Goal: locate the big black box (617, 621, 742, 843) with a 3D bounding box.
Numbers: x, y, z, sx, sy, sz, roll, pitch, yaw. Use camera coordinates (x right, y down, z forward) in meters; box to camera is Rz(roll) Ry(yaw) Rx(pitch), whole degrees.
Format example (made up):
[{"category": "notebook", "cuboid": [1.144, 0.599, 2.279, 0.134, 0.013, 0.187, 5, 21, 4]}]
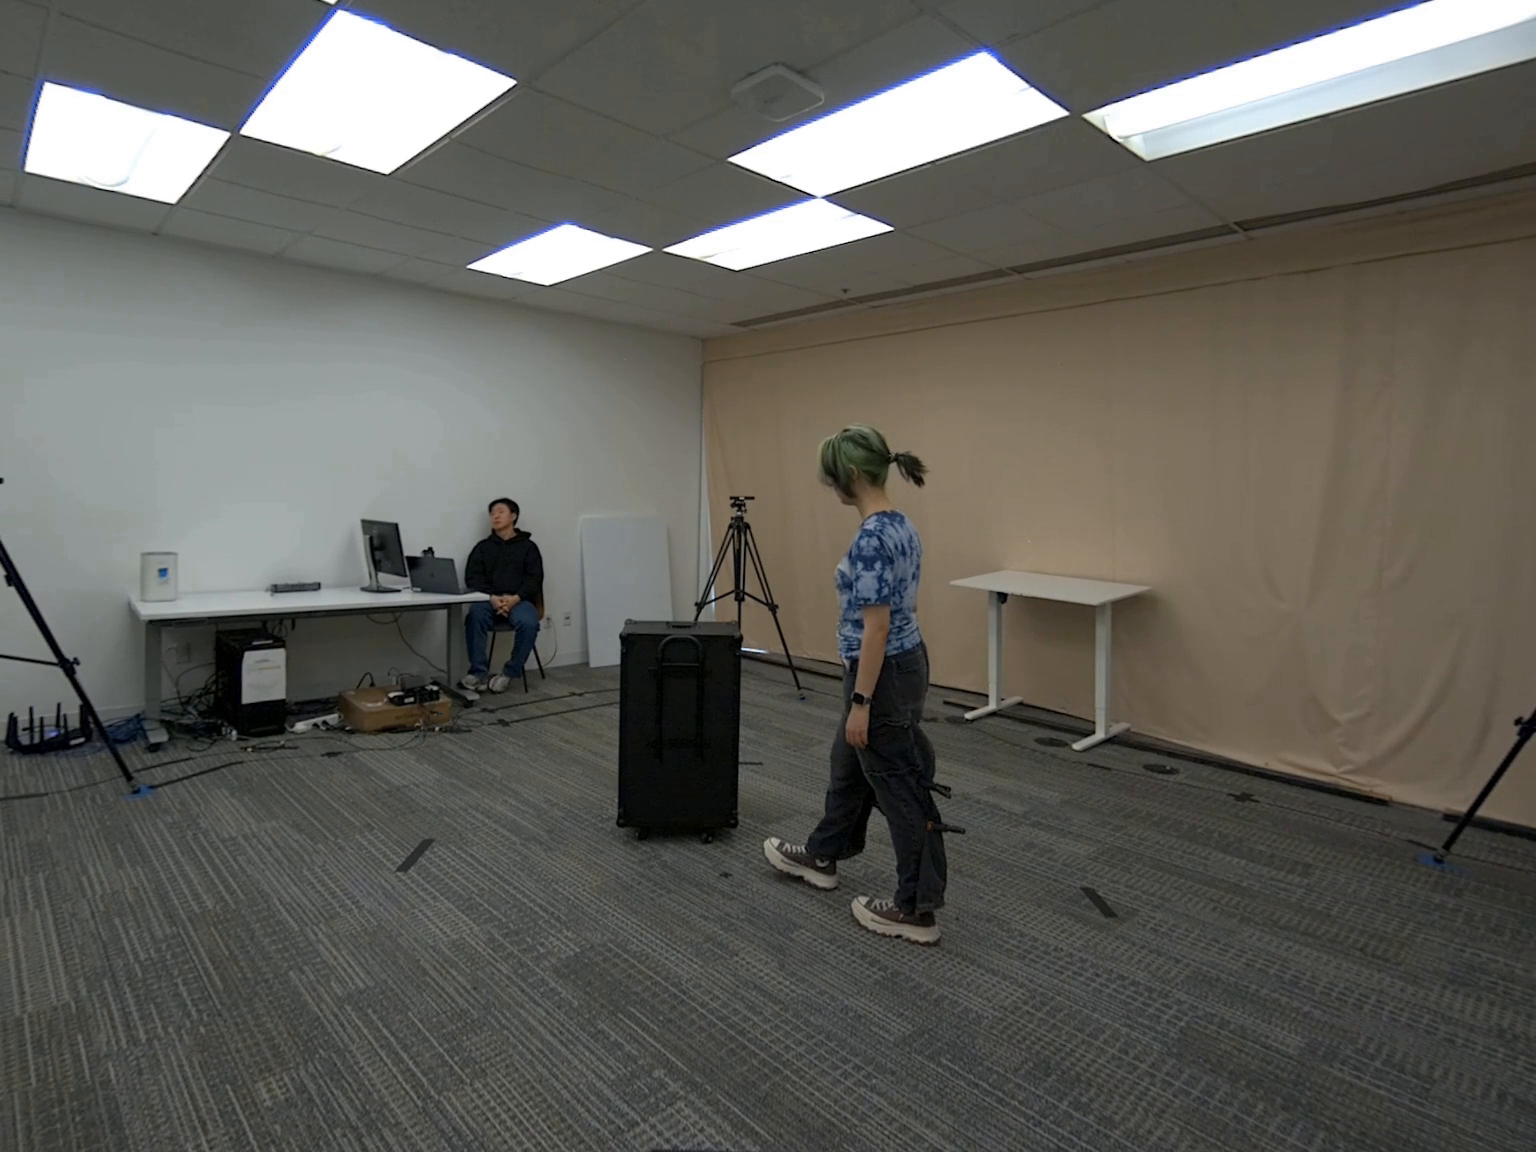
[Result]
[{"category": "big black box", "cuboid": [-0.371, 0.637, 3.509, 0.520, 0.859, 0.398, 2, 4, -4]}]
